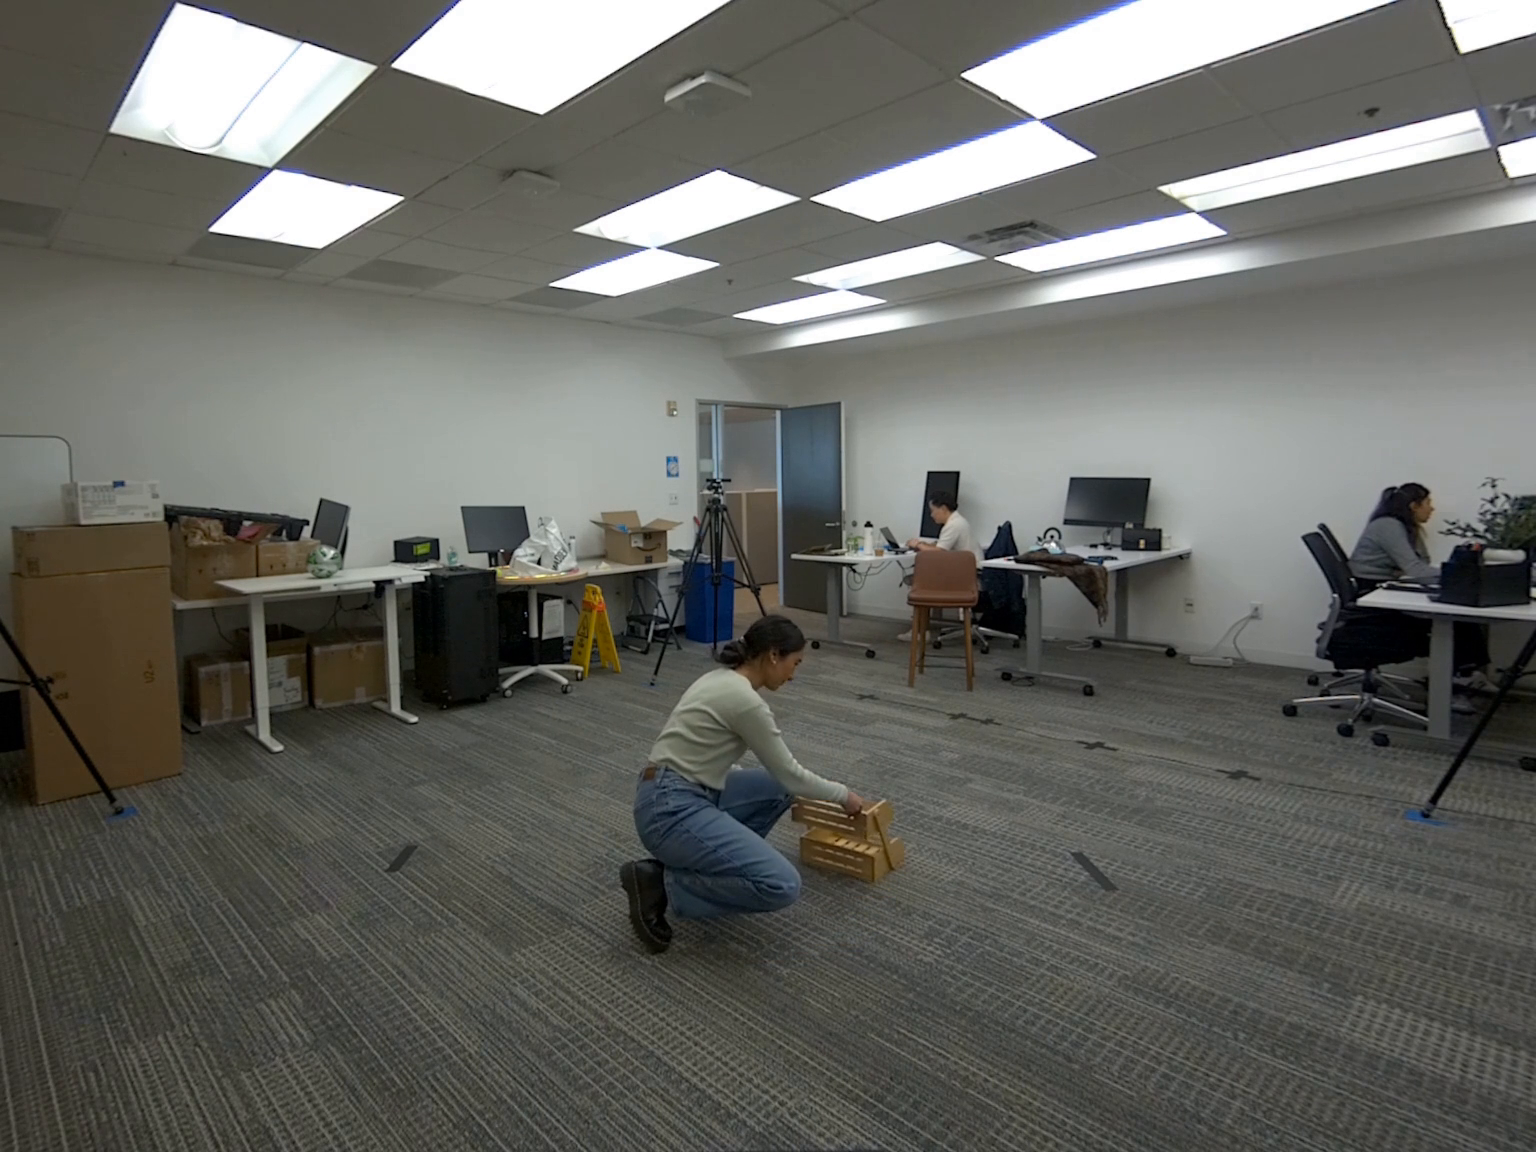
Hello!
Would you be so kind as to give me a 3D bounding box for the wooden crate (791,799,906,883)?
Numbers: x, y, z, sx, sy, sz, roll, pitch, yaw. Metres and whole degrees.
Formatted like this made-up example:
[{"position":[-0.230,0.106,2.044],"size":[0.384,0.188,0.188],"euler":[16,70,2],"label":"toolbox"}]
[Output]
[{"position":[0.299,0.907,3.102],"size":[0.334,0.272,0.295],"euler":[2,6,35],"label":"wooden crate"}]
